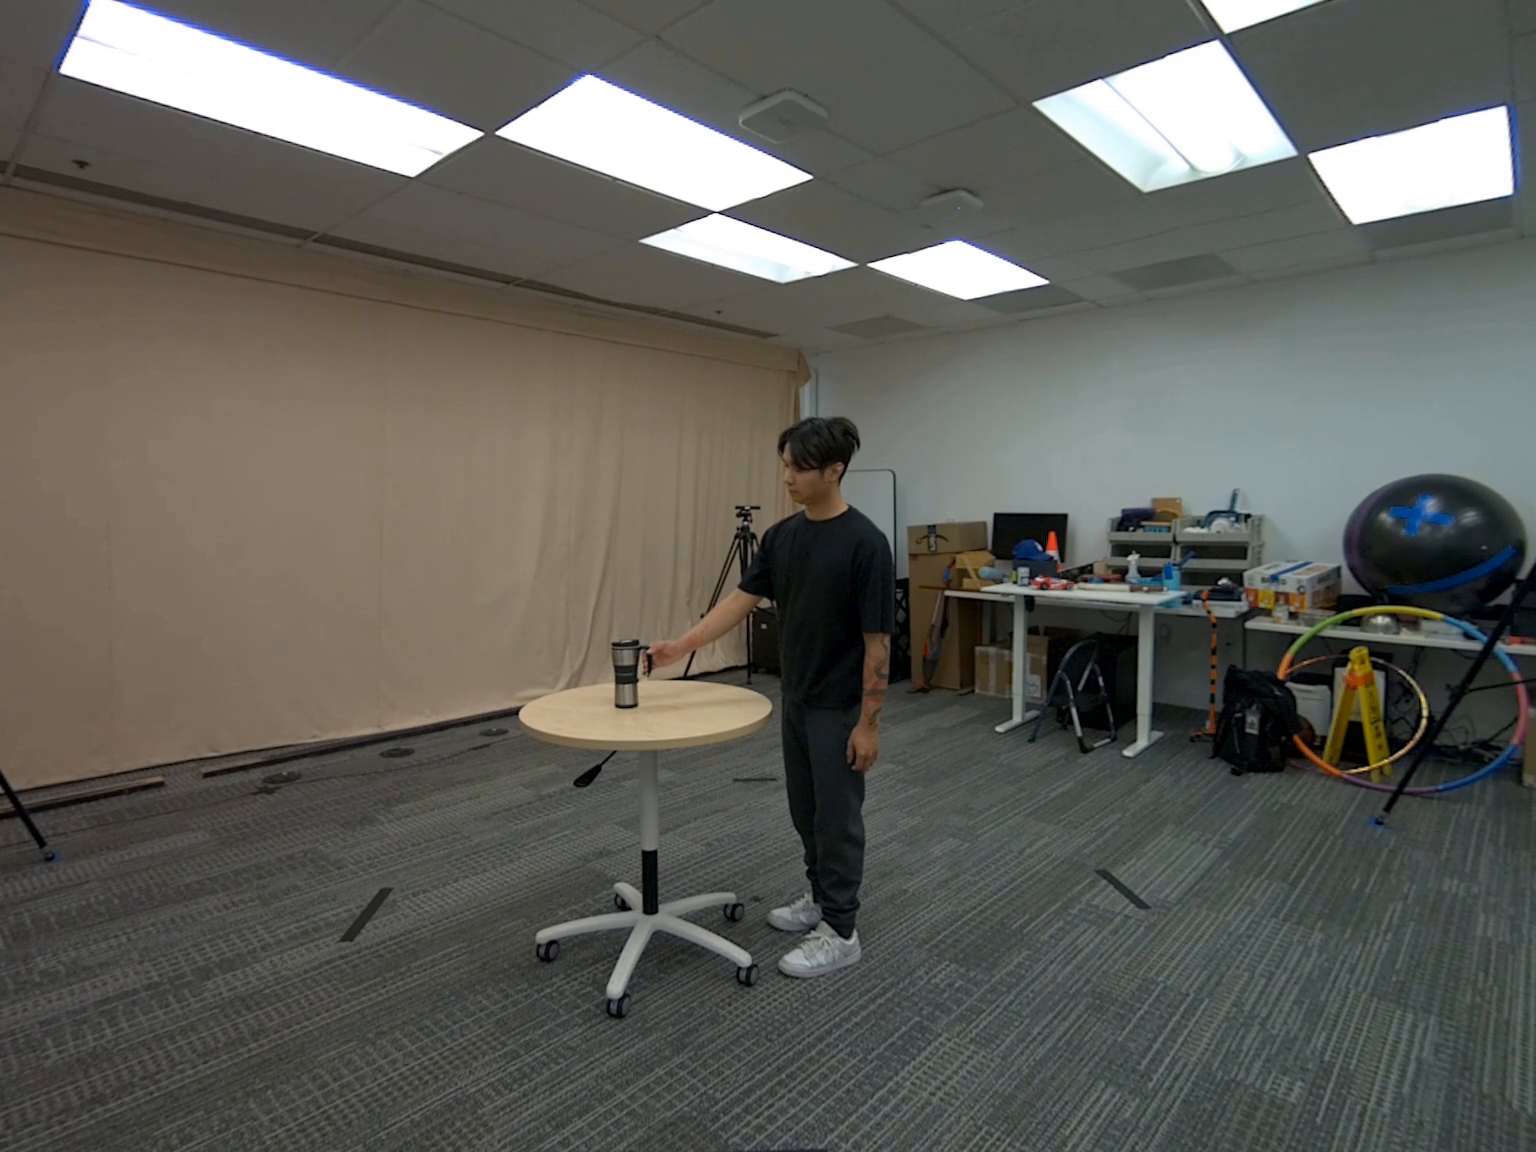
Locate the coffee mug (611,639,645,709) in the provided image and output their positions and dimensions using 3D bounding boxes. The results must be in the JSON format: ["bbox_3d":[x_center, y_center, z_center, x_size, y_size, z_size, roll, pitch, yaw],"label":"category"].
[{"bbox_3d":[-0.416,0.303,2.559,0.126,0.203,0.085,-1,-1,38],"label":"coffee mug"}]
